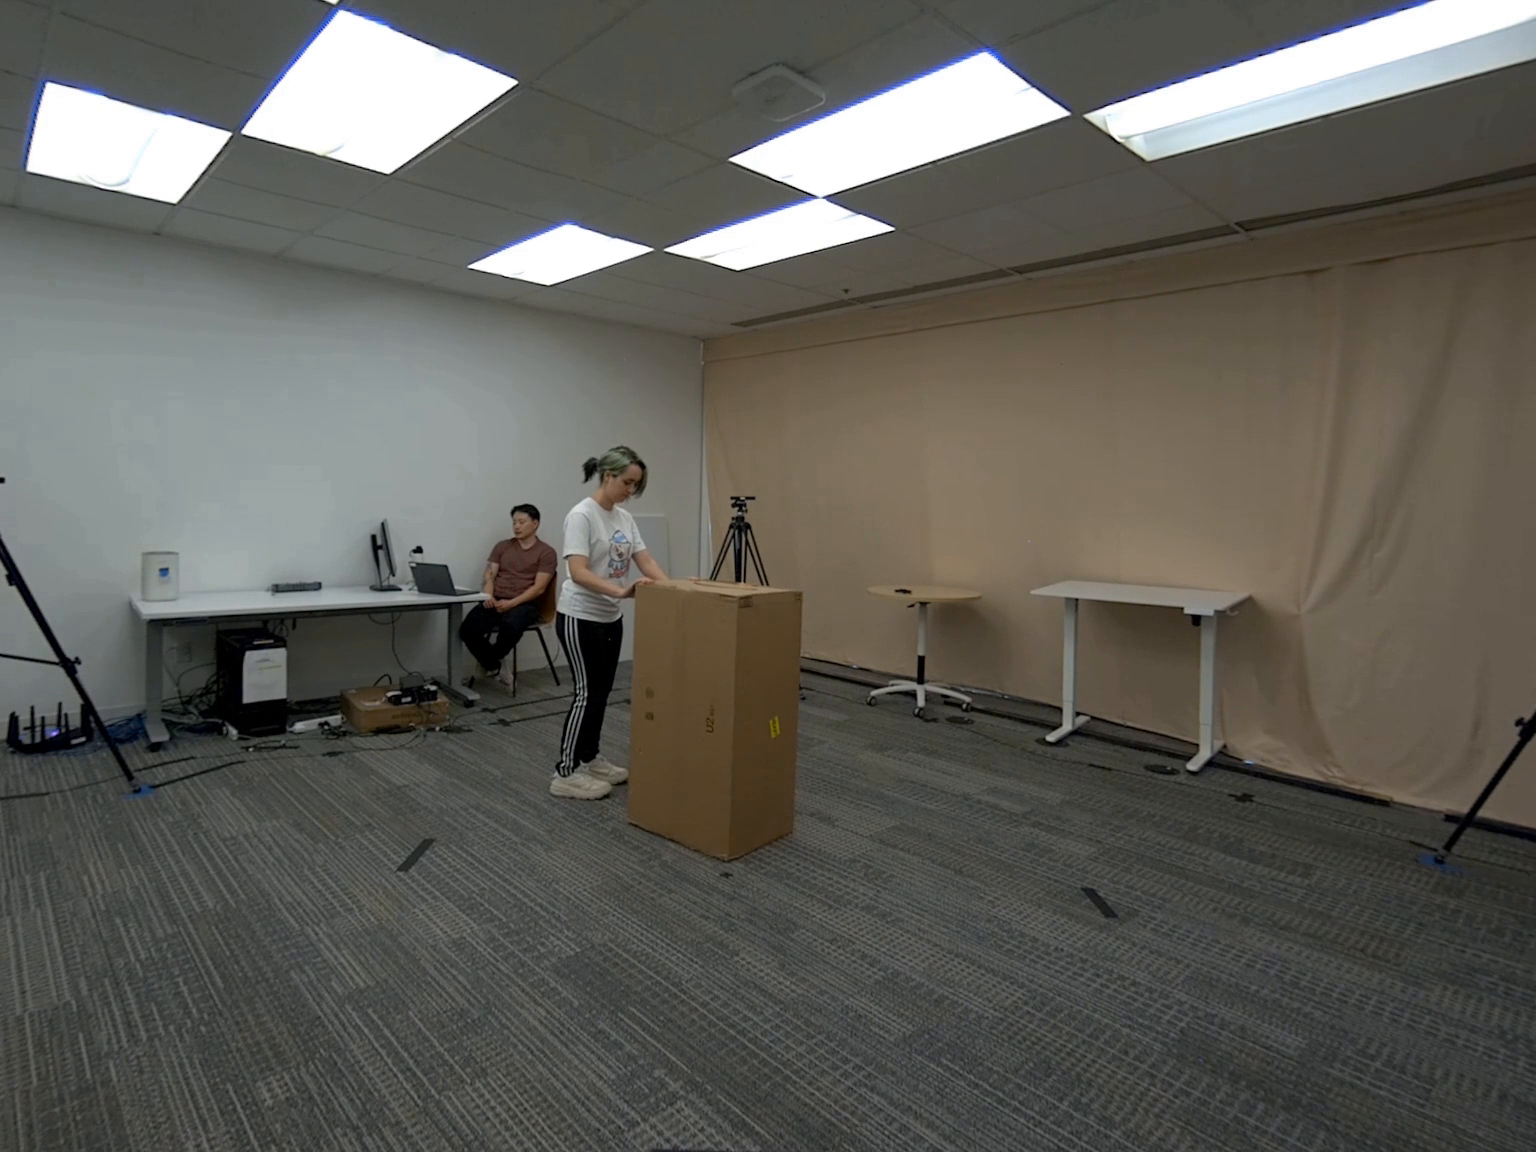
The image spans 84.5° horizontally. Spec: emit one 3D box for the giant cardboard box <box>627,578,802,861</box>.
[{"bbox_3d":[-0.230,0.556,3.535,0.598,1.025,0.437,4,4,39],"label":"giant cardboard box"}]
